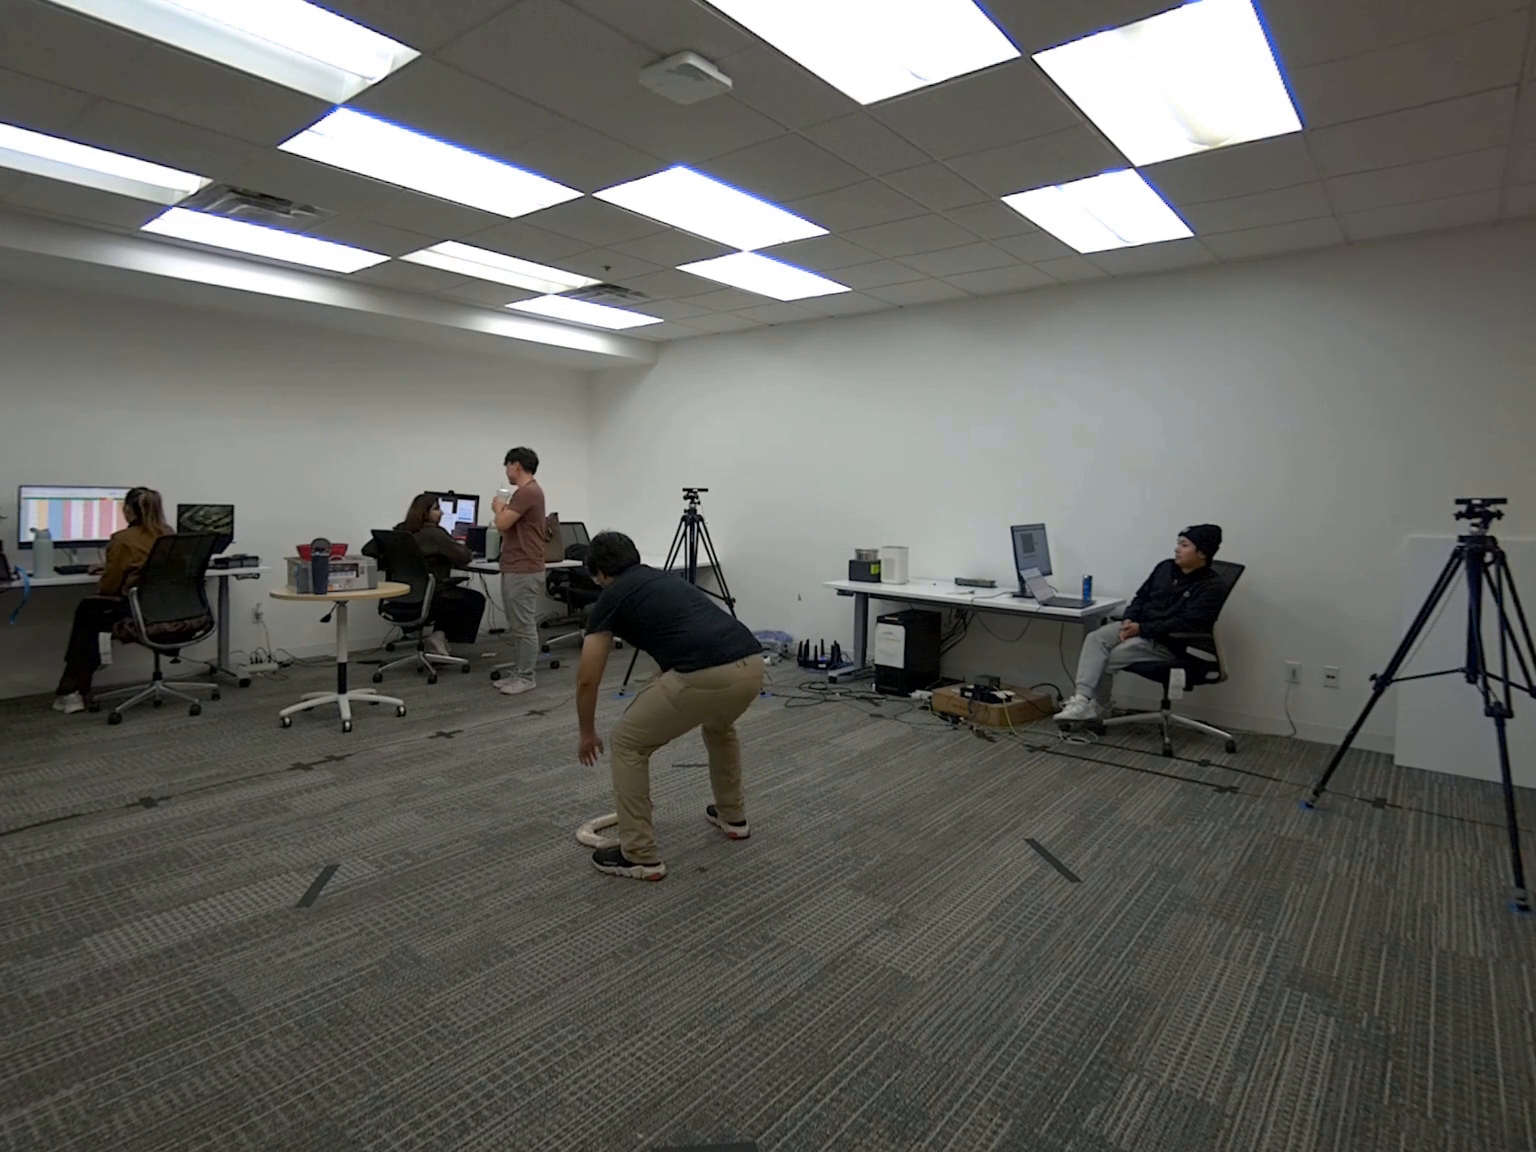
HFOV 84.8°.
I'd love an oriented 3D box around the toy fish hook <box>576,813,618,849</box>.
[{"bbox_3d":[-0.580,1.005,3.492,0.231,0.048,0.495,11,11,26],"label":"toy fish hook"}]
